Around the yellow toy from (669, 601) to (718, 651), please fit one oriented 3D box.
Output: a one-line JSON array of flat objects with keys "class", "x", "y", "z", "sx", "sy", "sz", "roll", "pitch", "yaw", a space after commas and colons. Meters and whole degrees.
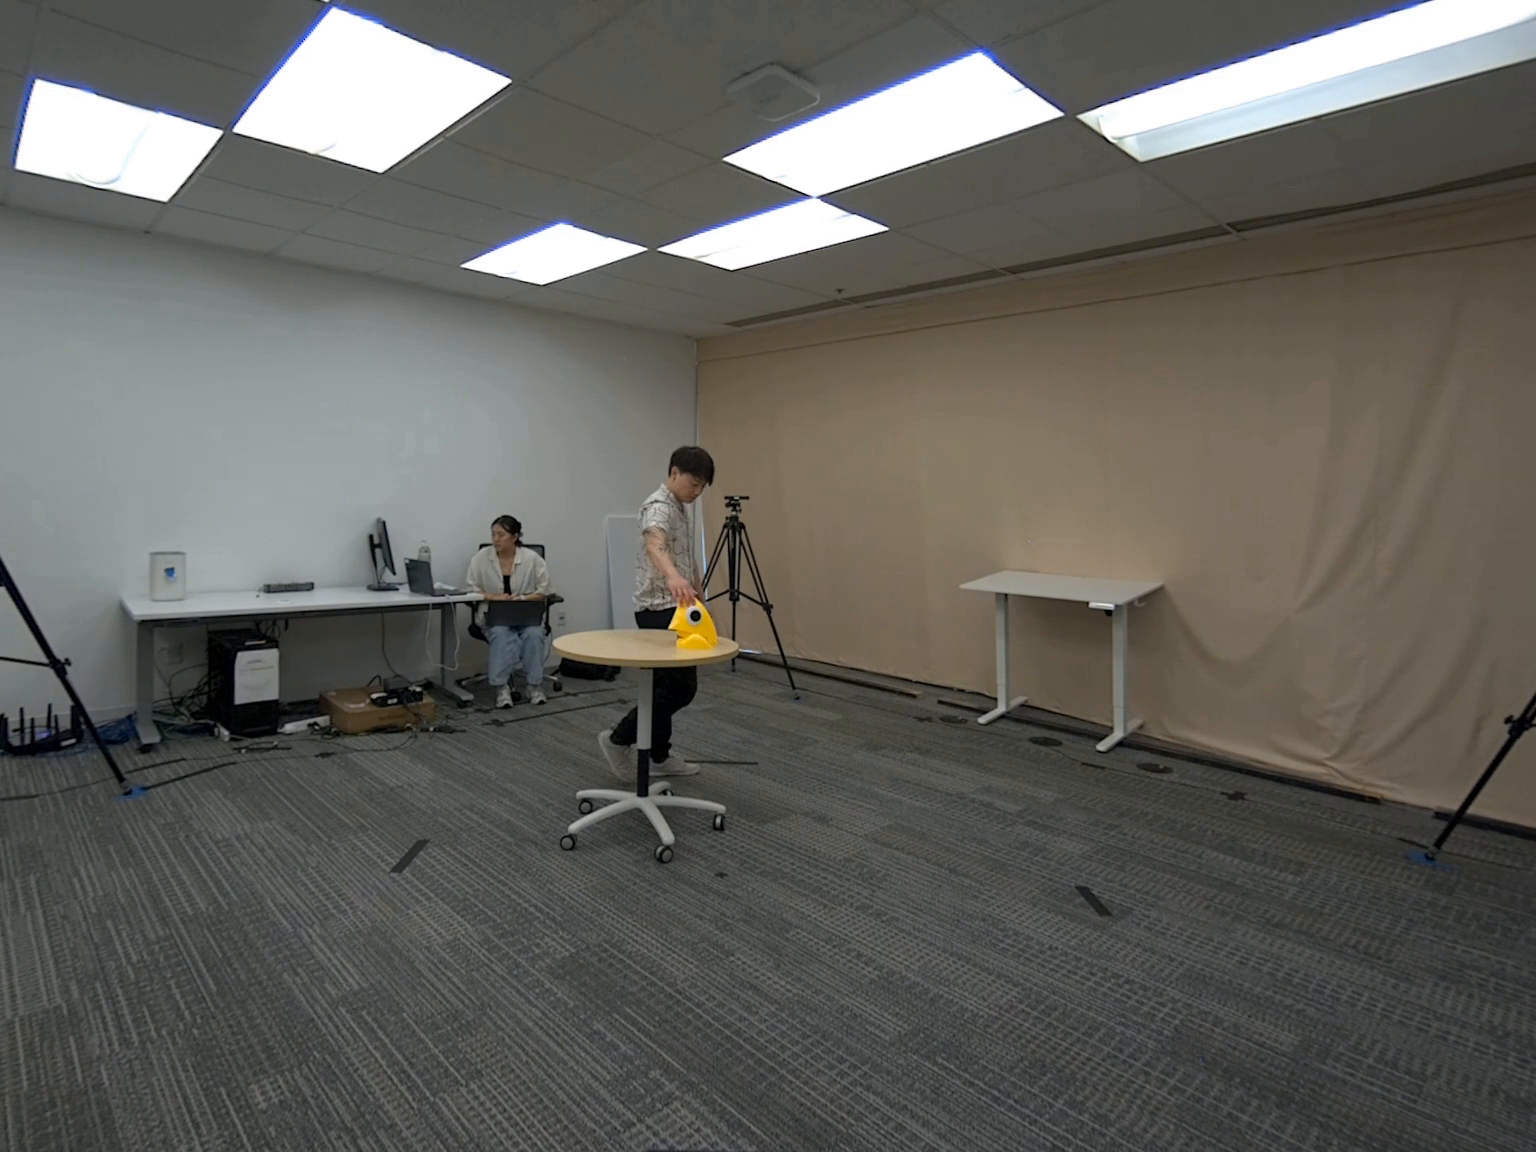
[{"class": "yellow toy", "x": -0.313, "y": 0.172, "z": 3.475, "sx": 0.194, "sy": 0.230, "sz": 0.204, "roll": 2, "pitch": 3, "yaw": 5}]
